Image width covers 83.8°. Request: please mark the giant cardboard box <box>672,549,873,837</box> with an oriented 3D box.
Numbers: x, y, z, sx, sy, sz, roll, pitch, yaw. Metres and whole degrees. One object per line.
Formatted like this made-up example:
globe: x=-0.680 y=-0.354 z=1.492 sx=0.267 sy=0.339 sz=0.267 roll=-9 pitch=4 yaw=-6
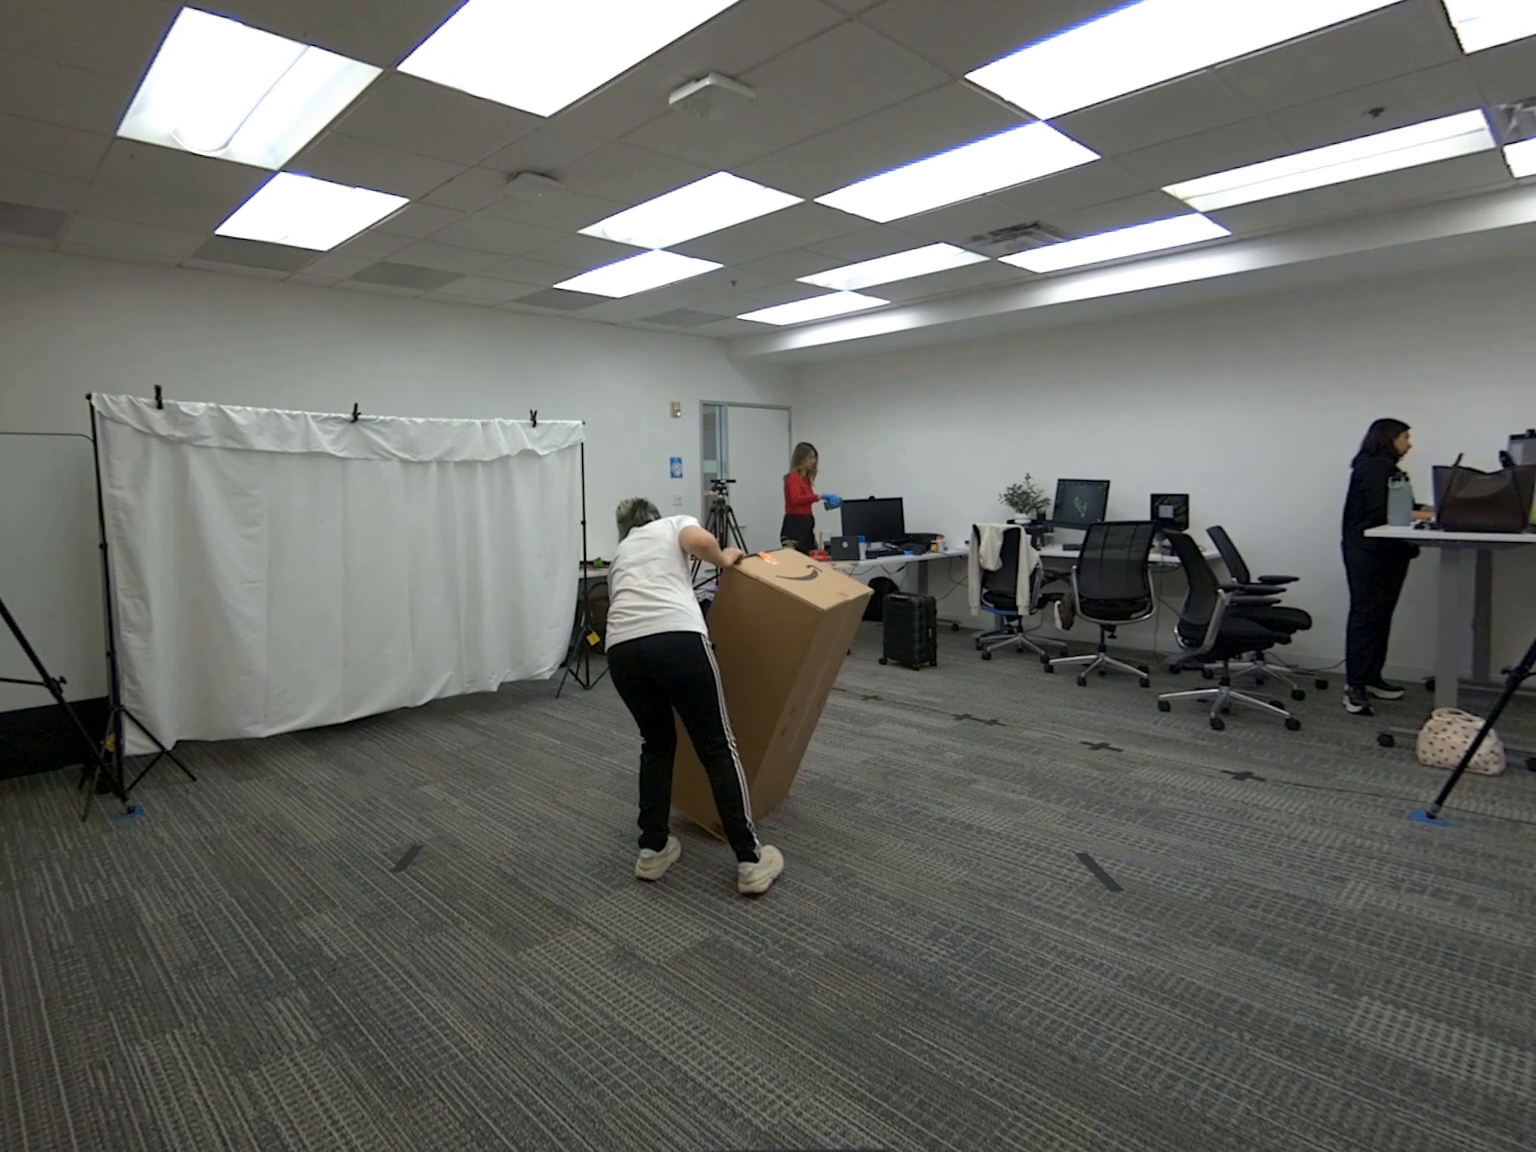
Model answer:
giant cardboard box: x=-0.028 y=0.459 z=3.487 sx=0.438 sy=1.018 sz=0.566 roll=27 pitch=16 yaw=21
